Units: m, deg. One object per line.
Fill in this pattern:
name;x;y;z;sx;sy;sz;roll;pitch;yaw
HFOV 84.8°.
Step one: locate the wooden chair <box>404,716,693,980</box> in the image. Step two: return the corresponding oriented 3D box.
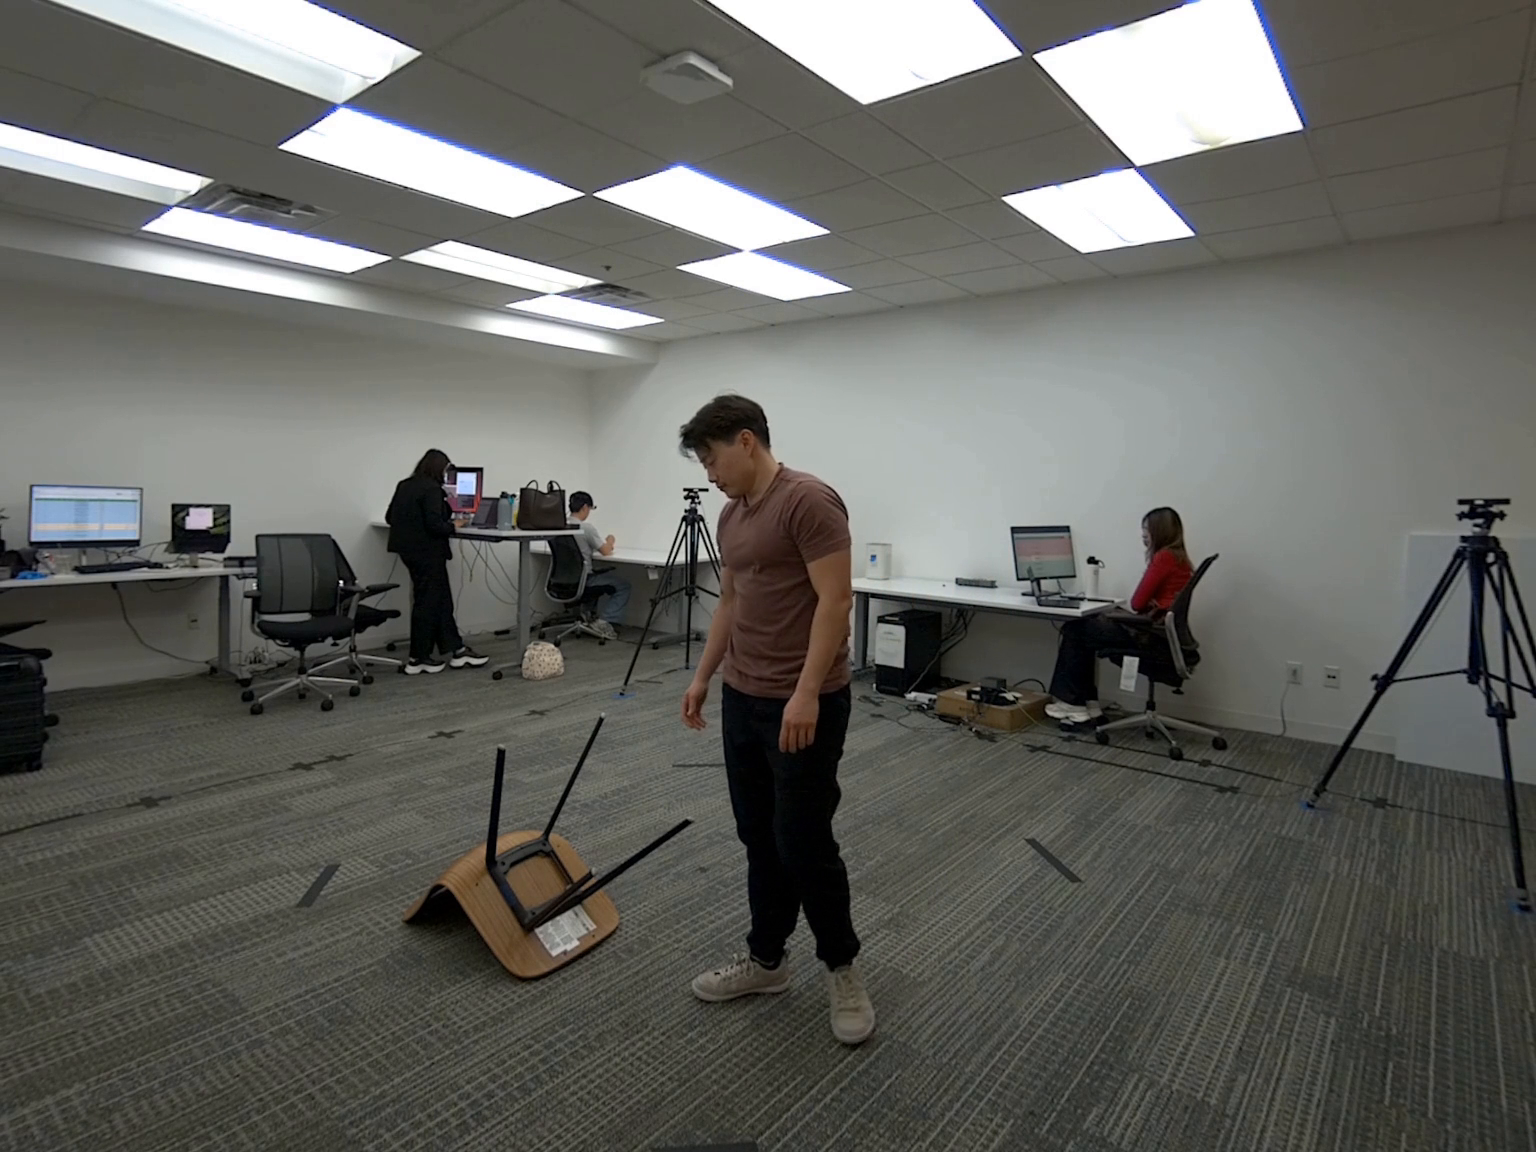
wooden chair;-0.719;0.938;2.619;0.538;0.875;0.466;47;24;20
